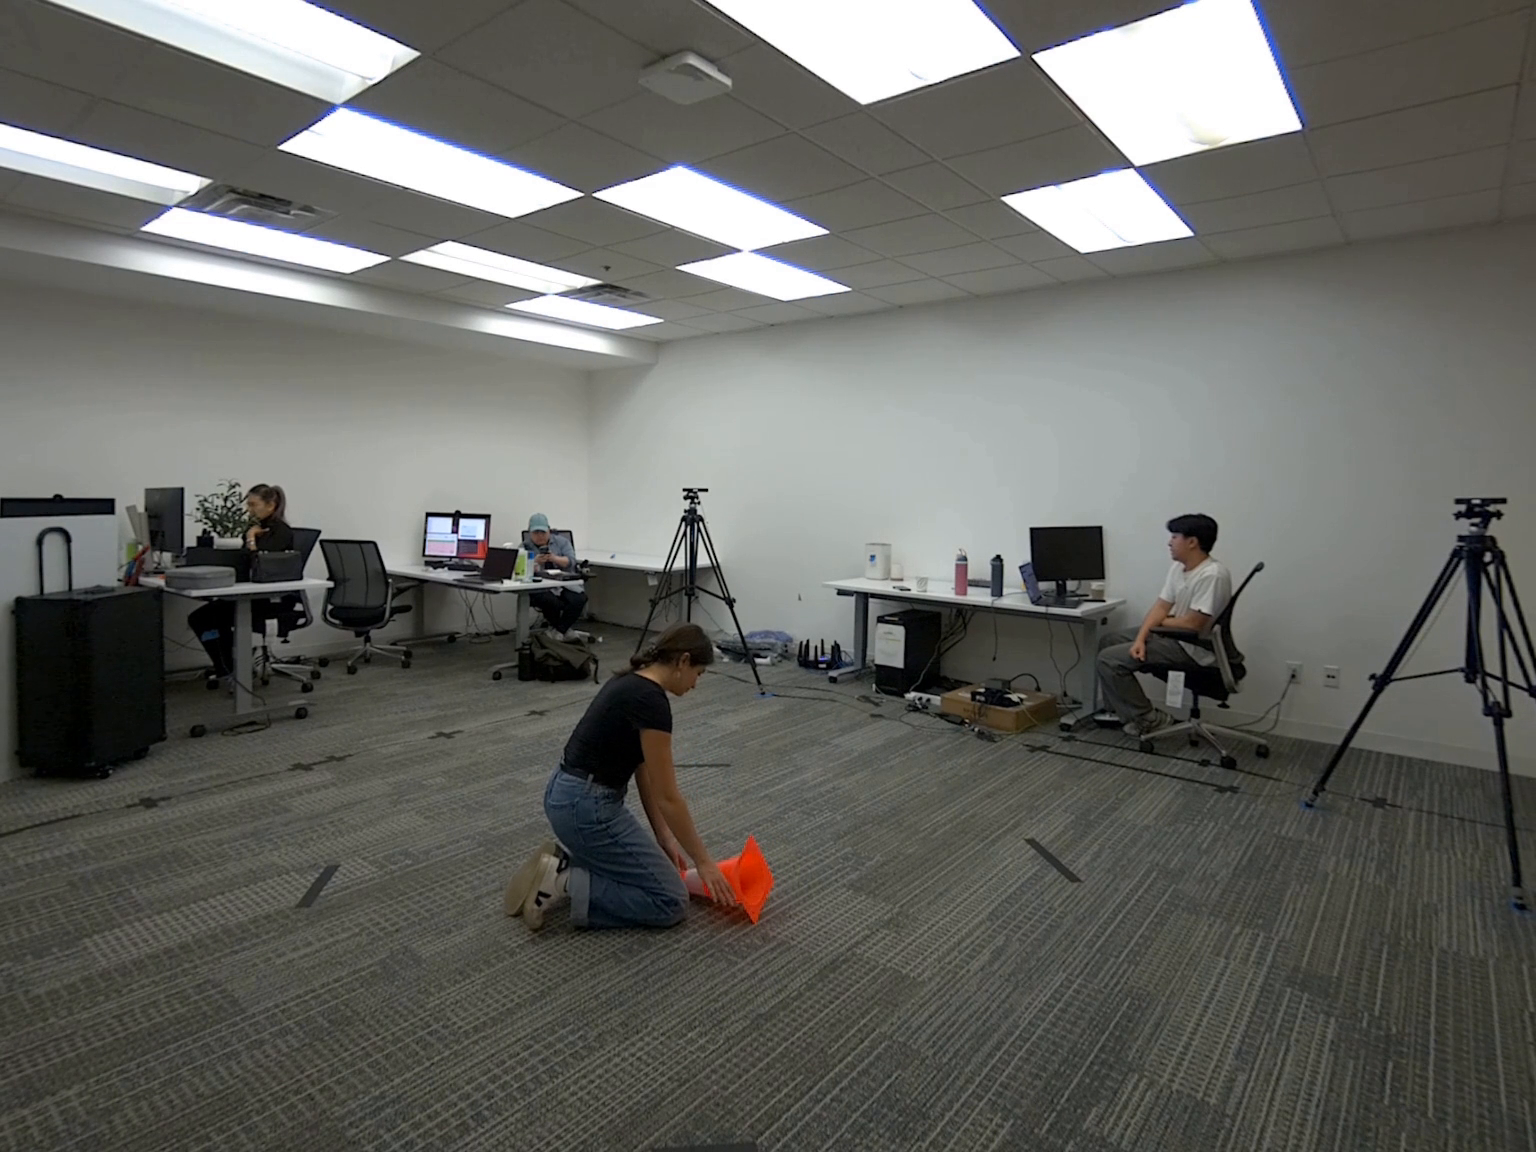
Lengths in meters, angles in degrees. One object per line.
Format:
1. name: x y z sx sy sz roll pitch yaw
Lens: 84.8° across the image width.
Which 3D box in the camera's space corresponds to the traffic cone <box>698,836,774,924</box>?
1. traffic cone: -0.207 1.035 2.877 0.391 0.200 0.204 -16 14 28
